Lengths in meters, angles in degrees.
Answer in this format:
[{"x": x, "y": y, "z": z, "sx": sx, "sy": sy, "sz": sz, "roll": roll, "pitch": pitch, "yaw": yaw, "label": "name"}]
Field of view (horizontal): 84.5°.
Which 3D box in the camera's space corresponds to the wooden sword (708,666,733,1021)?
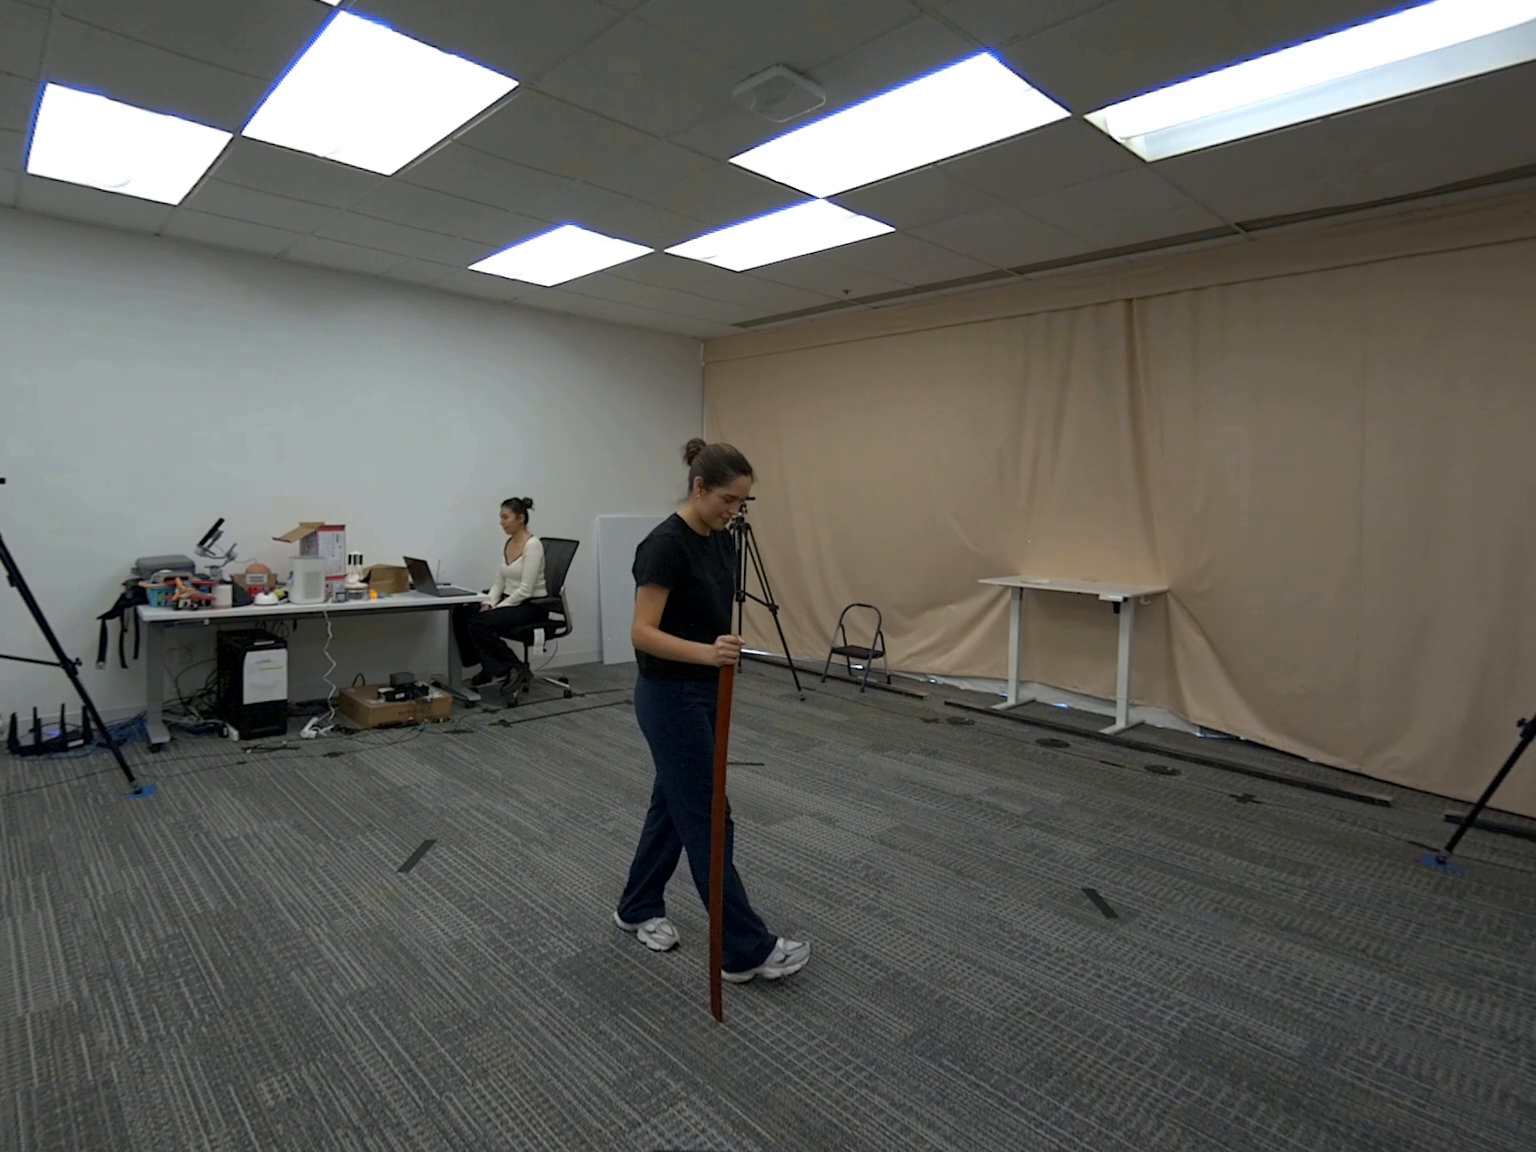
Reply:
[{"x": -0.128, "y": 0.691, "z": 2.201, "sx": 0.024, "sy": 1.023, "sz": 0.051, "roll": 0, "pitch": 2, "yaw": 0, "label": "wooden sword"}]
